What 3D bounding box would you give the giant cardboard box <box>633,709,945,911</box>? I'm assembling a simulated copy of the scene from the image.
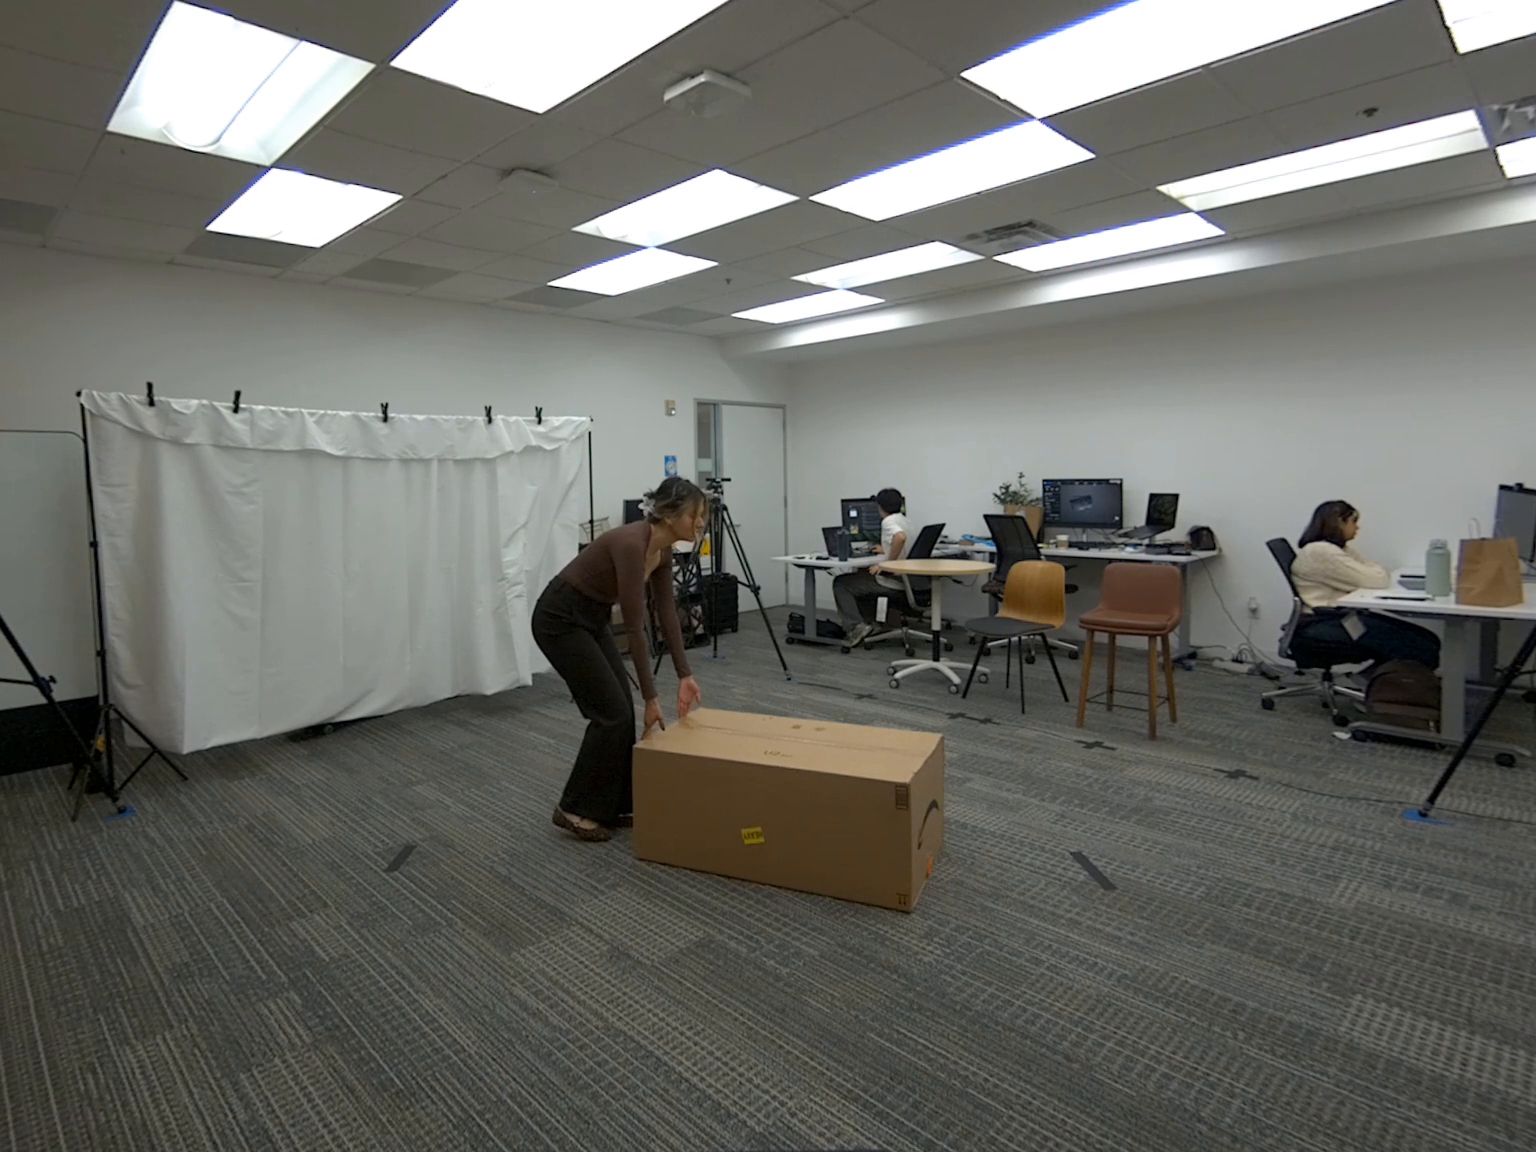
[{"bbox_3d":[0.082,0.820,3.180,1.050,0.444,0.574,1,7,24],"label":"giant cardboard box"}]
